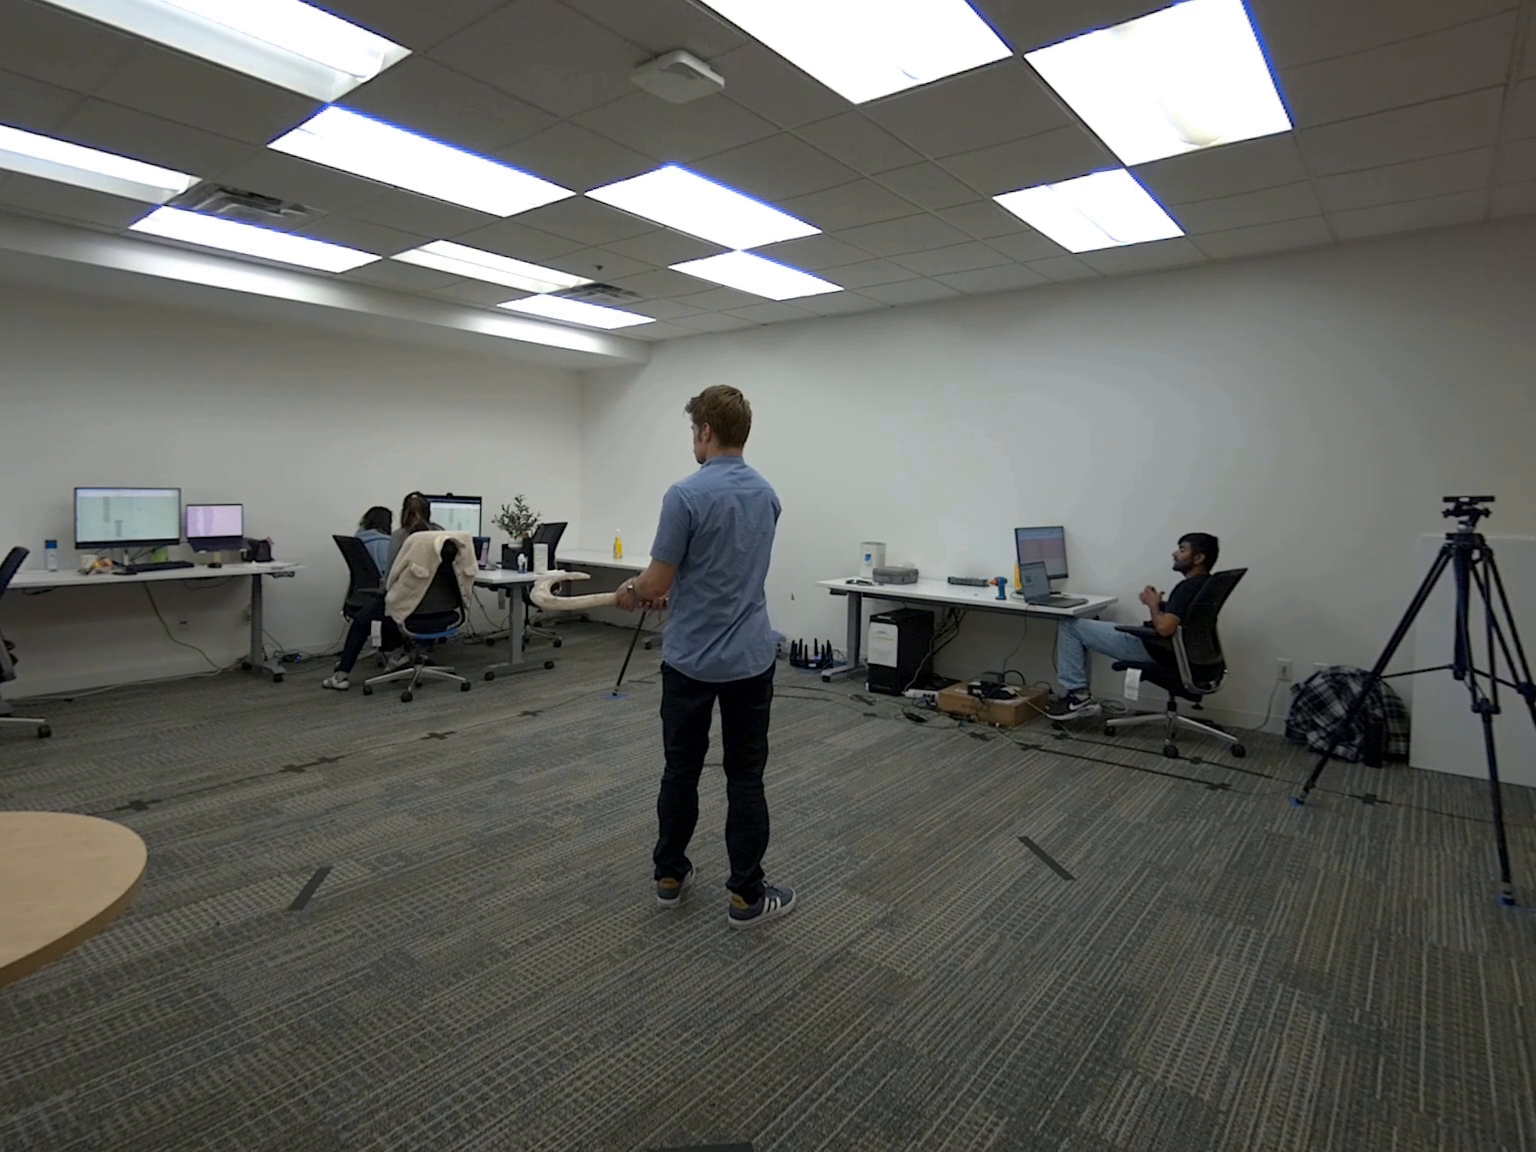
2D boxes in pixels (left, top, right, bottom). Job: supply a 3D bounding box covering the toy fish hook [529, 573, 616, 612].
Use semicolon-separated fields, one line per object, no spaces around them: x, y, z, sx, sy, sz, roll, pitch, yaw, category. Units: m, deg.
-0.601;0.054;3.037;0.509;0.047;0.230;2;36;3;toy fish hook
